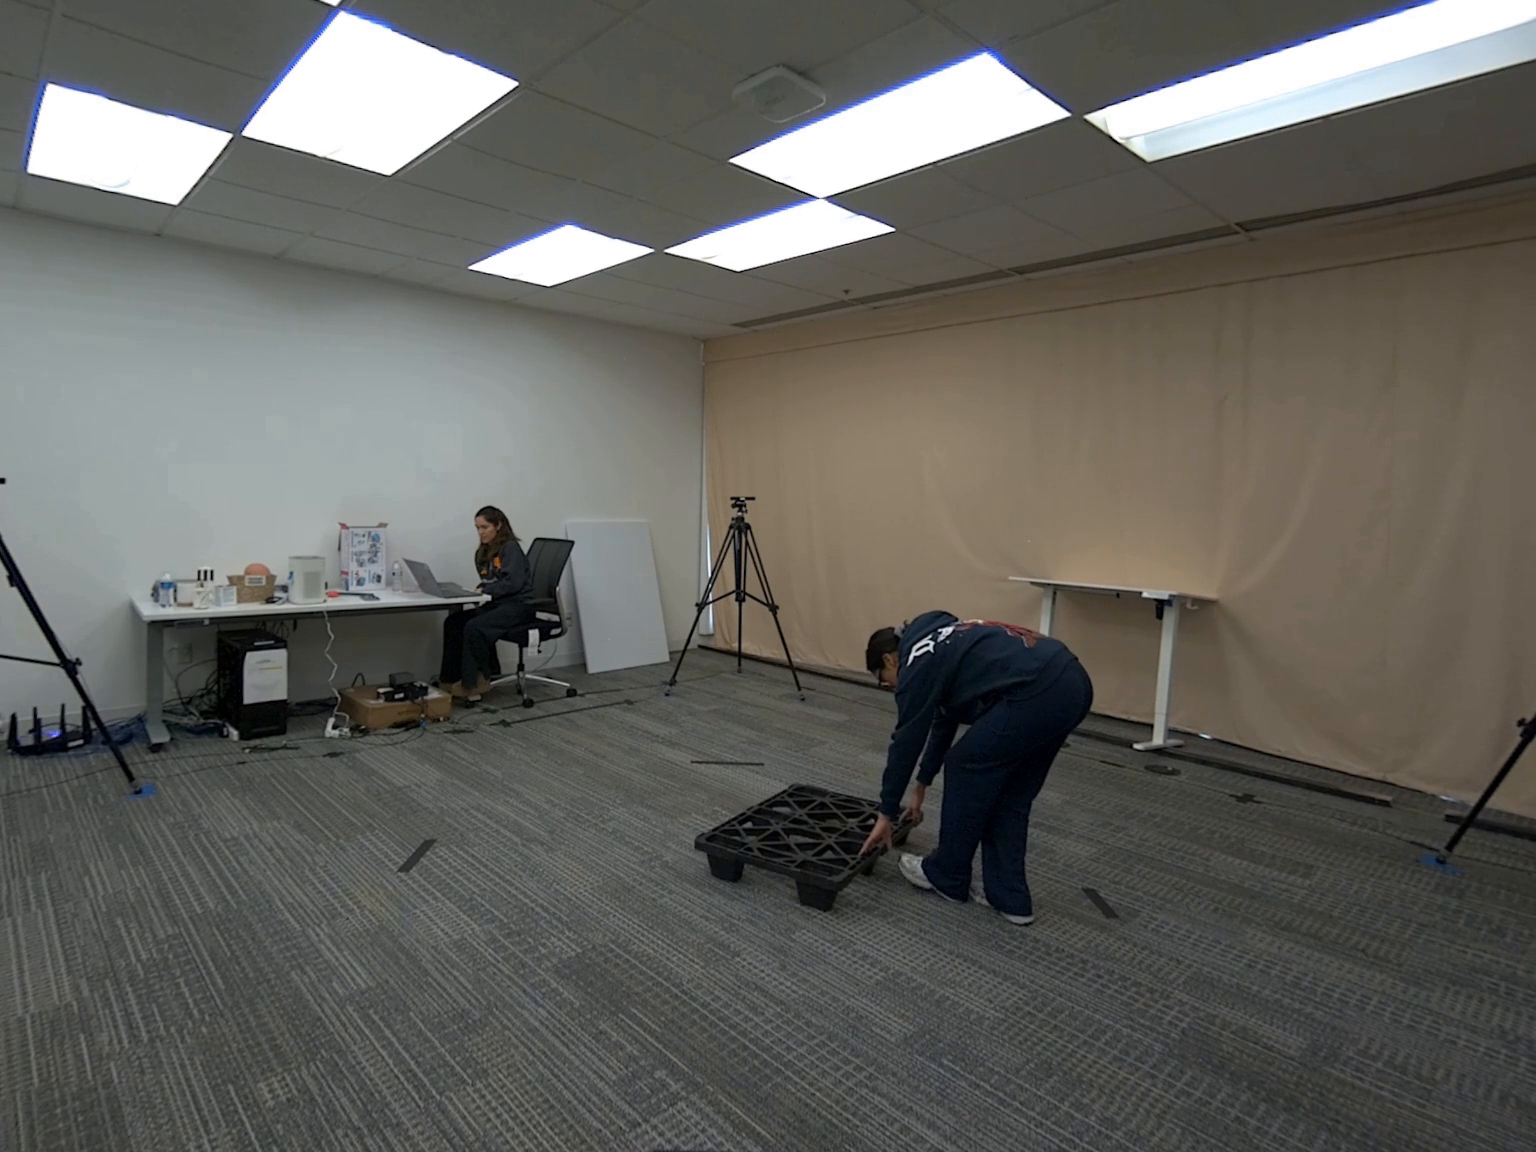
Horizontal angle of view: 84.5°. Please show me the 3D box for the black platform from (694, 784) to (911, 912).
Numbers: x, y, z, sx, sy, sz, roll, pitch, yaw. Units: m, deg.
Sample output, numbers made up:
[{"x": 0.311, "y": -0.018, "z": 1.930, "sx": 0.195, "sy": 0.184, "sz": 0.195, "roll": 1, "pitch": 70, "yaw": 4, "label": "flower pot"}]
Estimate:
[{"x": 0.178, "y": 1.031, "z": 3.276, "sx": 0.619, "sy": 0.143, "sz": 0.790, "roll": 5, "pitch": 6, "yaw": 31, "label": "black platform"}]
